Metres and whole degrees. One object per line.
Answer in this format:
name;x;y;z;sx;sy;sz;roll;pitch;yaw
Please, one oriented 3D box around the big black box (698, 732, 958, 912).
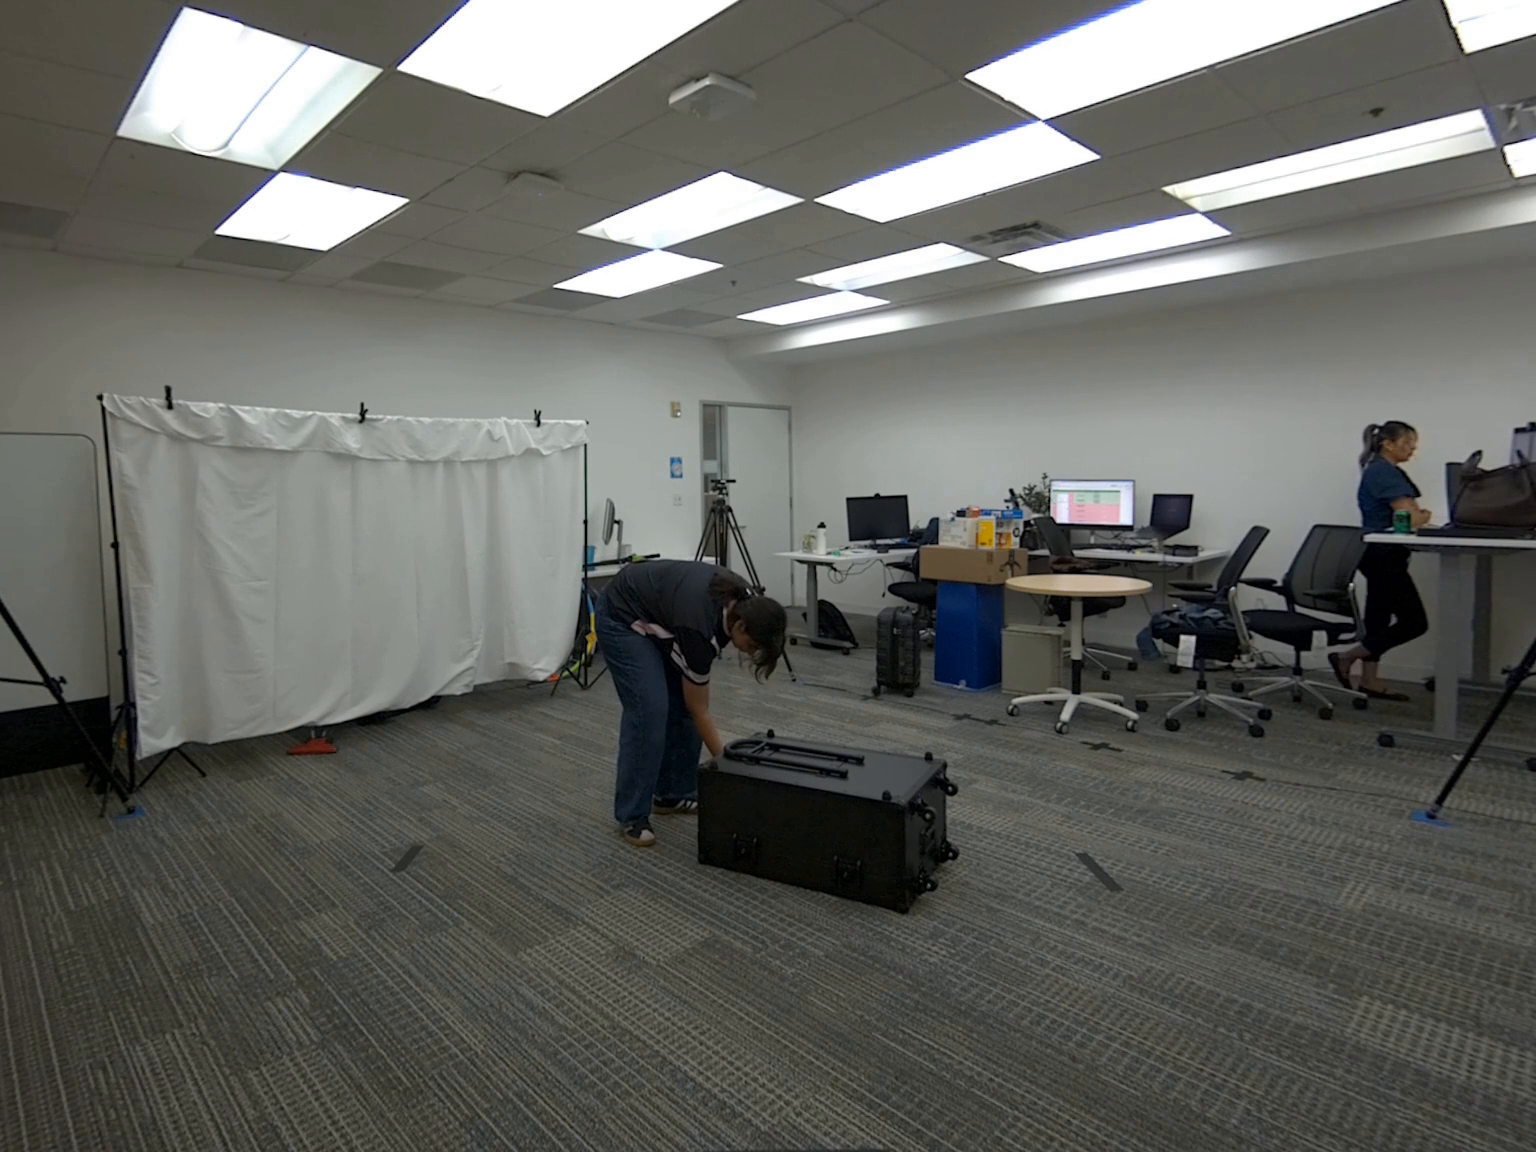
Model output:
big black box;0.235;0.844;3.098;0.884;0.395;0.510;3;6;29
